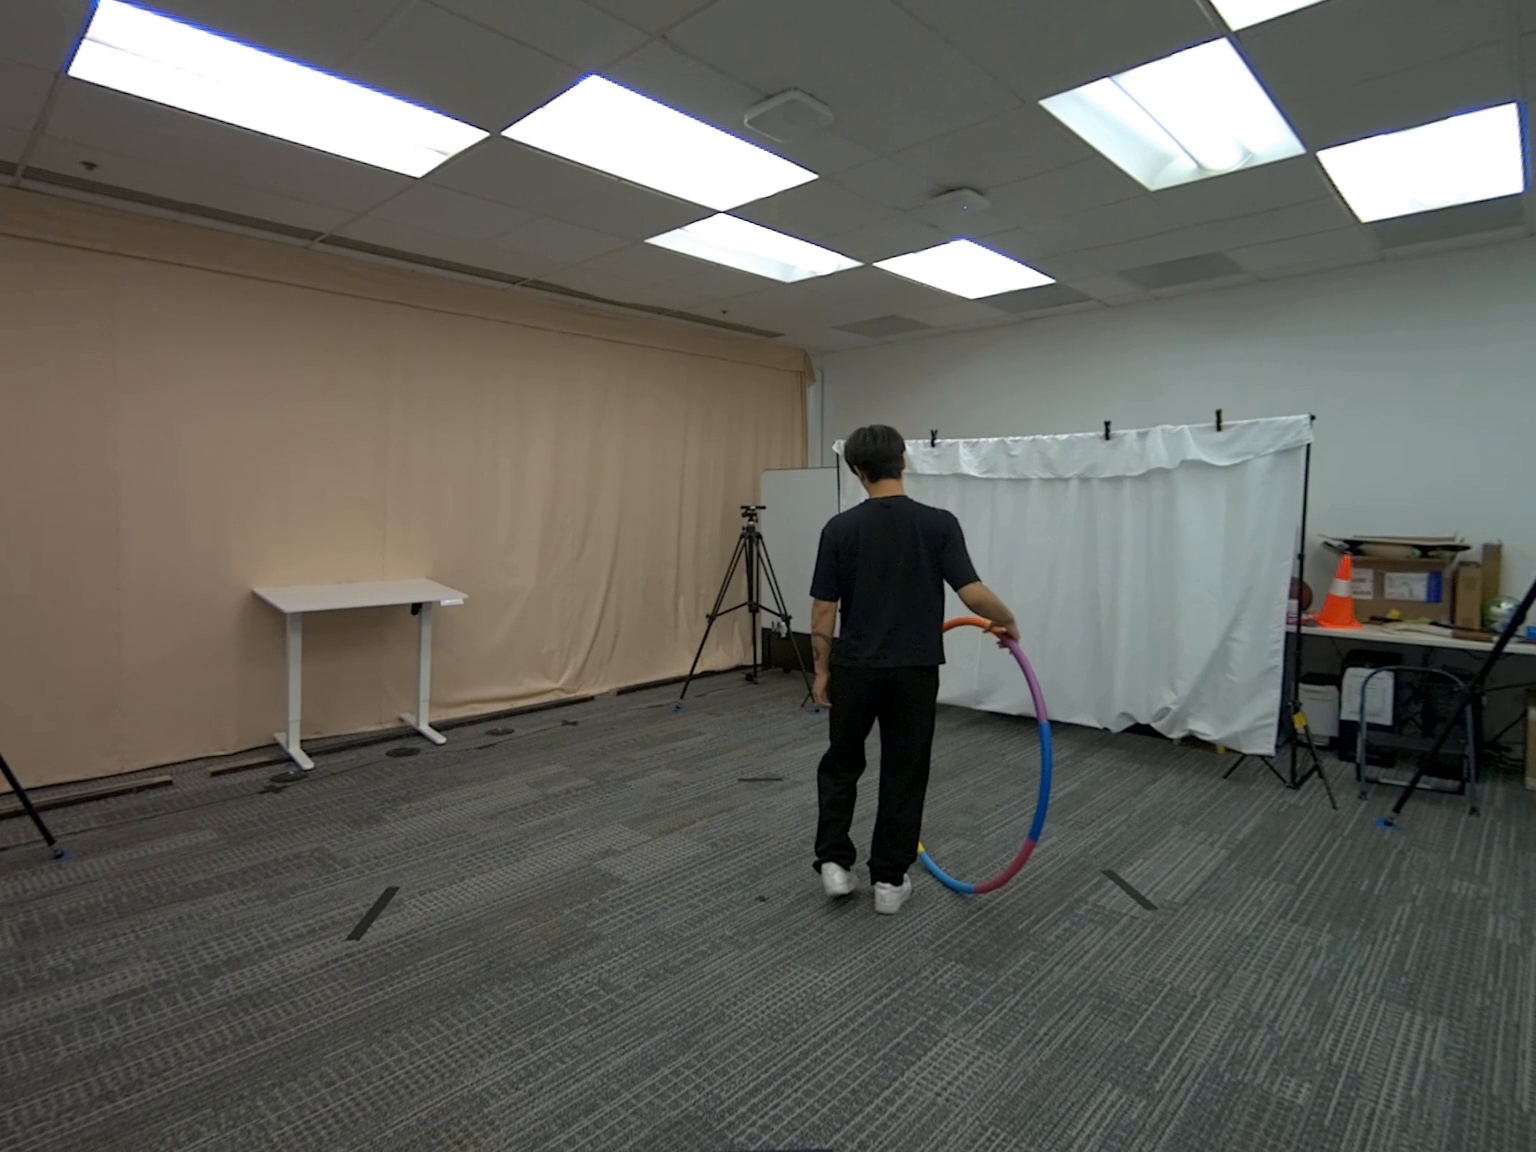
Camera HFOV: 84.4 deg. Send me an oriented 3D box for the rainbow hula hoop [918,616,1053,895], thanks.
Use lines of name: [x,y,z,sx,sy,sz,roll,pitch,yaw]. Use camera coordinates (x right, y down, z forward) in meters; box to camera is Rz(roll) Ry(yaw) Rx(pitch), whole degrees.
rainbow hula hoop: [0.709,0.648,3.116,0.035,0.978,0.999,6,2,-20]
